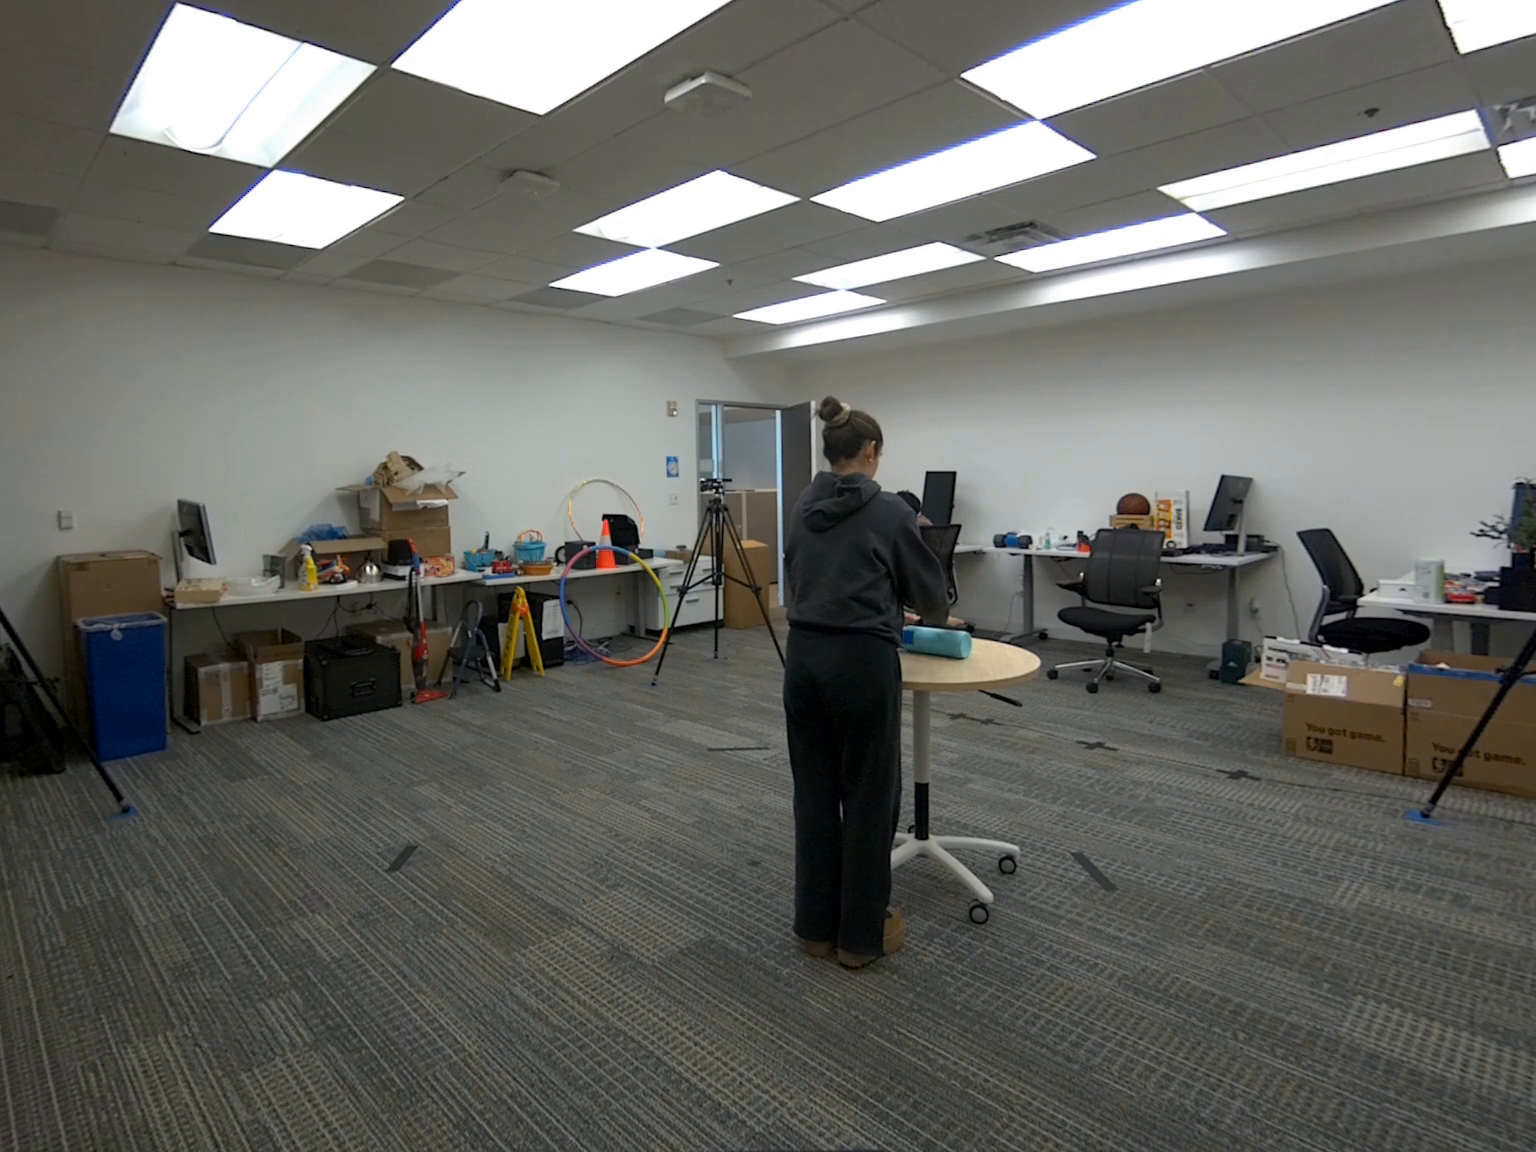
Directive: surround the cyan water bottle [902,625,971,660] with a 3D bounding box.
[{"bbox_3d":[0.552,0.222,2.937,0.292,0.092,0.090,5,7,40],"label":"cyan water bottle"}]
